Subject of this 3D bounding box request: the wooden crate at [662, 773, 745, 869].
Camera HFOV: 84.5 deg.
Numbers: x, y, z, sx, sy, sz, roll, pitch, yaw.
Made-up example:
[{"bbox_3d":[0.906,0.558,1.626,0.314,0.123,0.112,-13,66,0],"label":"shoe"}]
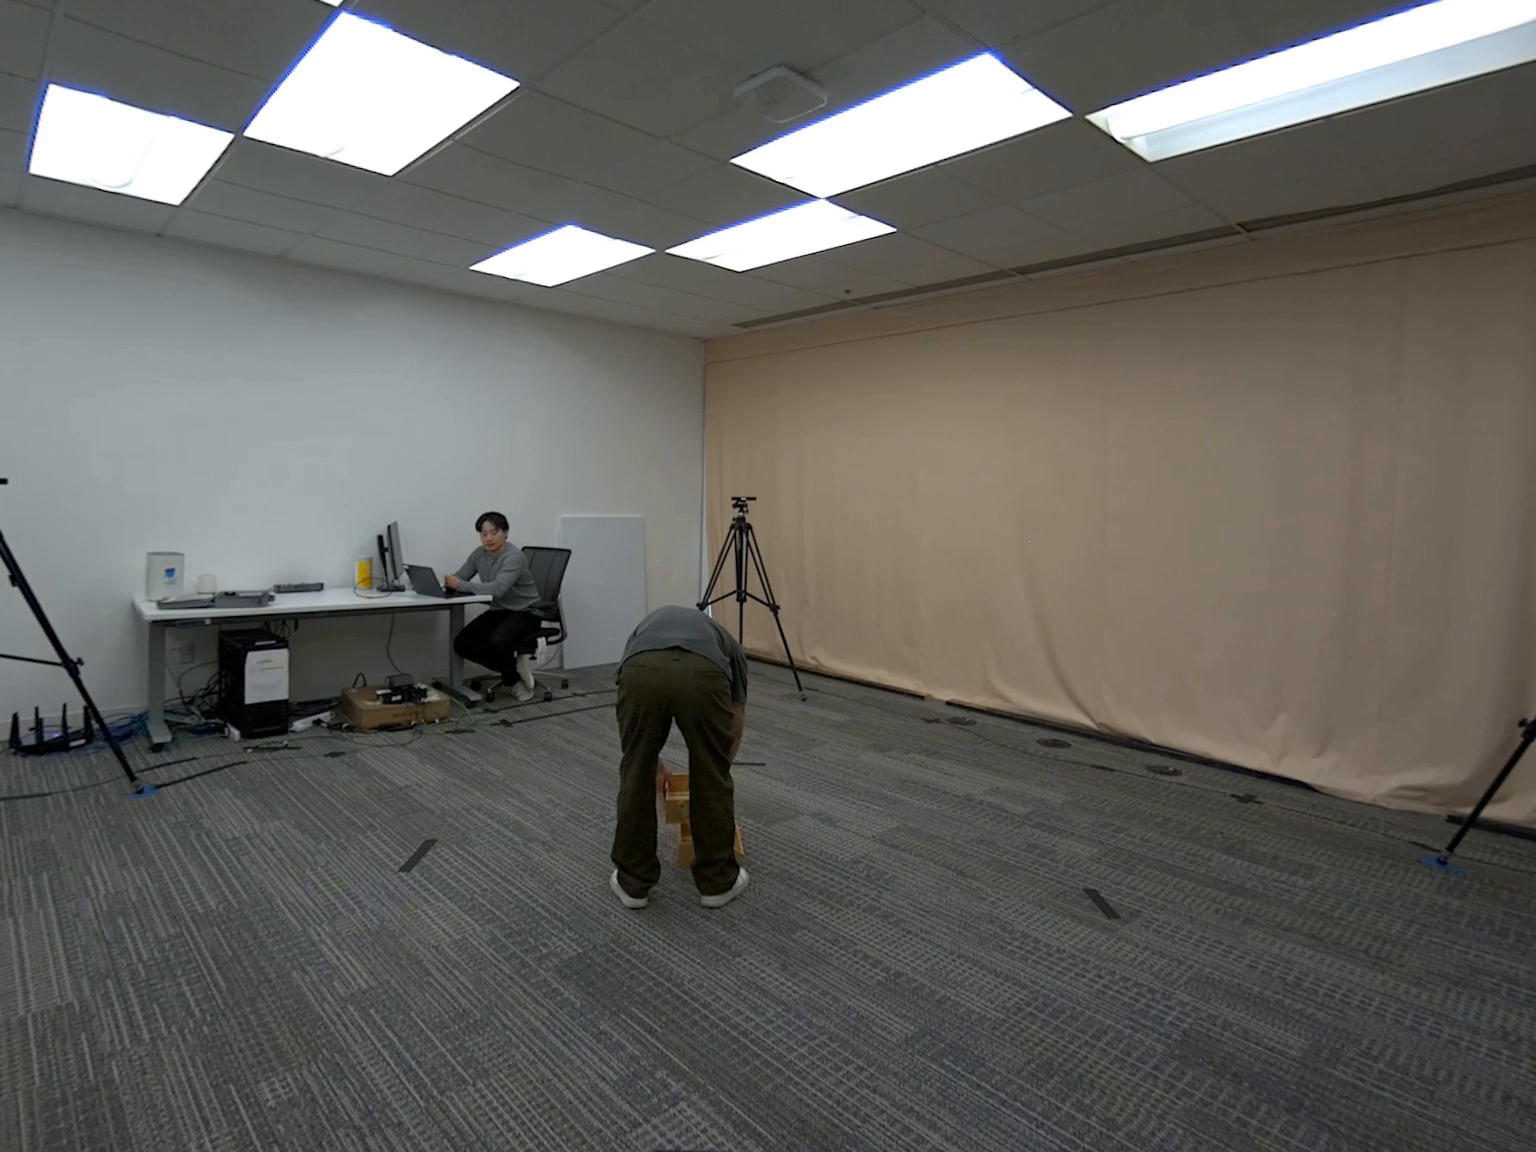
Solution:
[{"bbox_3d":[-0.256,0.948,3.308,0.300,0.273,0.327,1,4,-7],"label":"wooden crate"}]
